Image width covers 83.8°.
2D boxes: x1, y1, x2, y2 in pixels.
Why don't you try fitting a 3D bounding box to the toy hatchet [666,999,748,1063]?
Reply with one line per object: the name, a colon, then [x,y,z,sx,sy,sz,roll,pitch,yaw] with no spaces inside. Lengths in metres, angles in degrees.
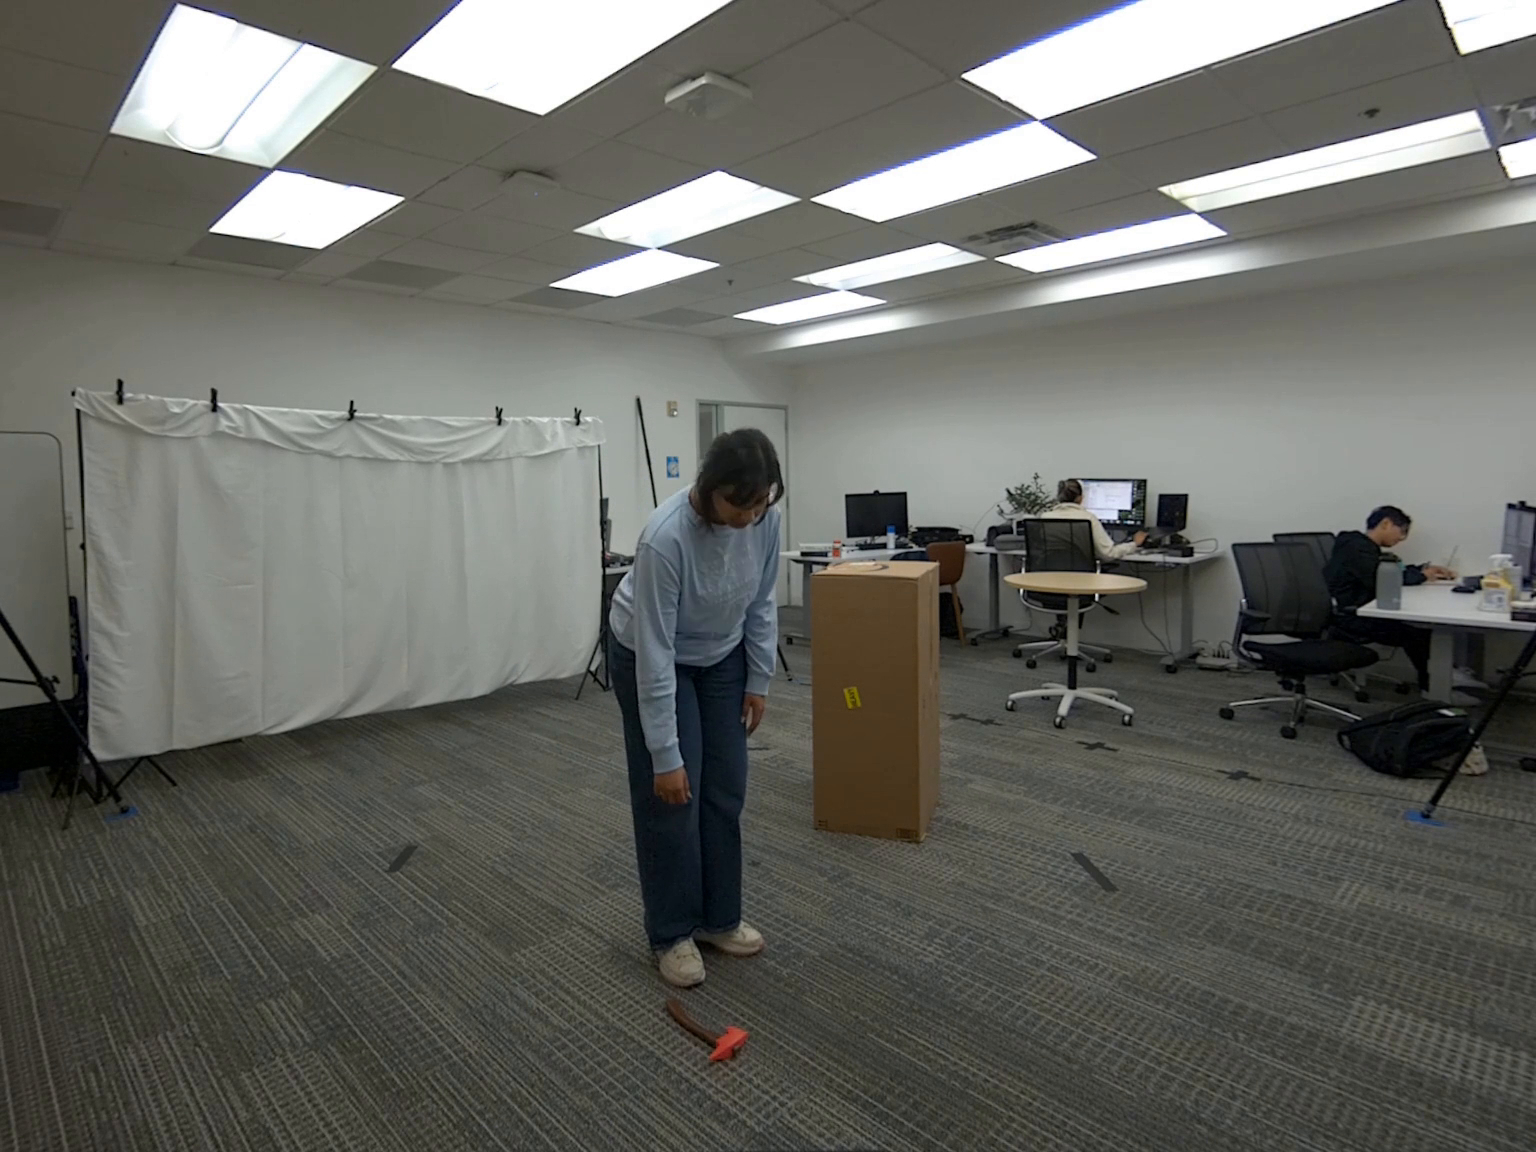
toy hatchet: [-0.145,1.153,2.179,0.128,0.029,0.277,-6,7,-30]
